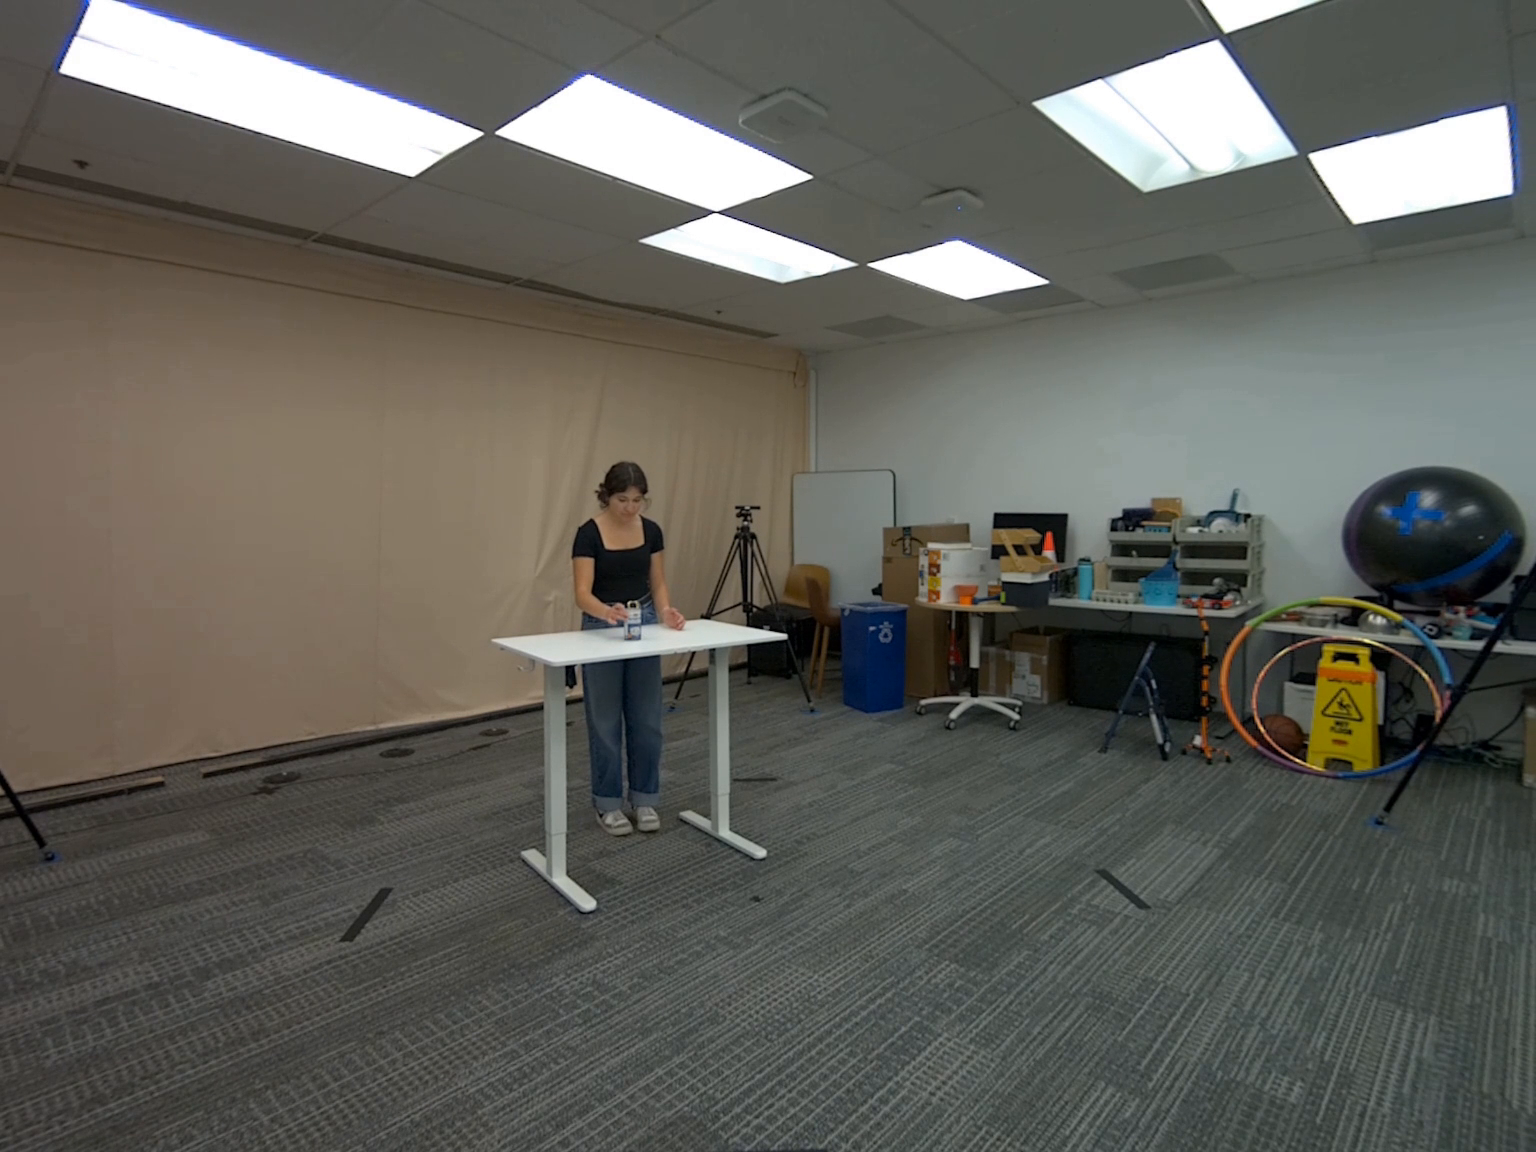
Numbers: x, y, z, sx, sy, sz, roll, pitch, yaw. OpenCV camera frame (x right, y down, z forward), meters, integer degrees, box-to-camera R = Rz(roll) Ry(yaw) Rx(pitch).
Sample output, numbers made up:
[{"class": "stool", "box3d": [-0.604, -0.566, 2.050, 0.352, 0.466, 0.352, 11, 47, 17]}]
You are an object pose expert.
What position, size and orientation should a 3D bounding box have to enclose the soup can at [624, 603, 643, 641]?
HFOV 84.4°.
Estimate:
[{"class": "soup can", "box3d": [-0.522, 0.187, 3.235, 0.067, 0.121, 0.067, 1, 0, -2]}]
